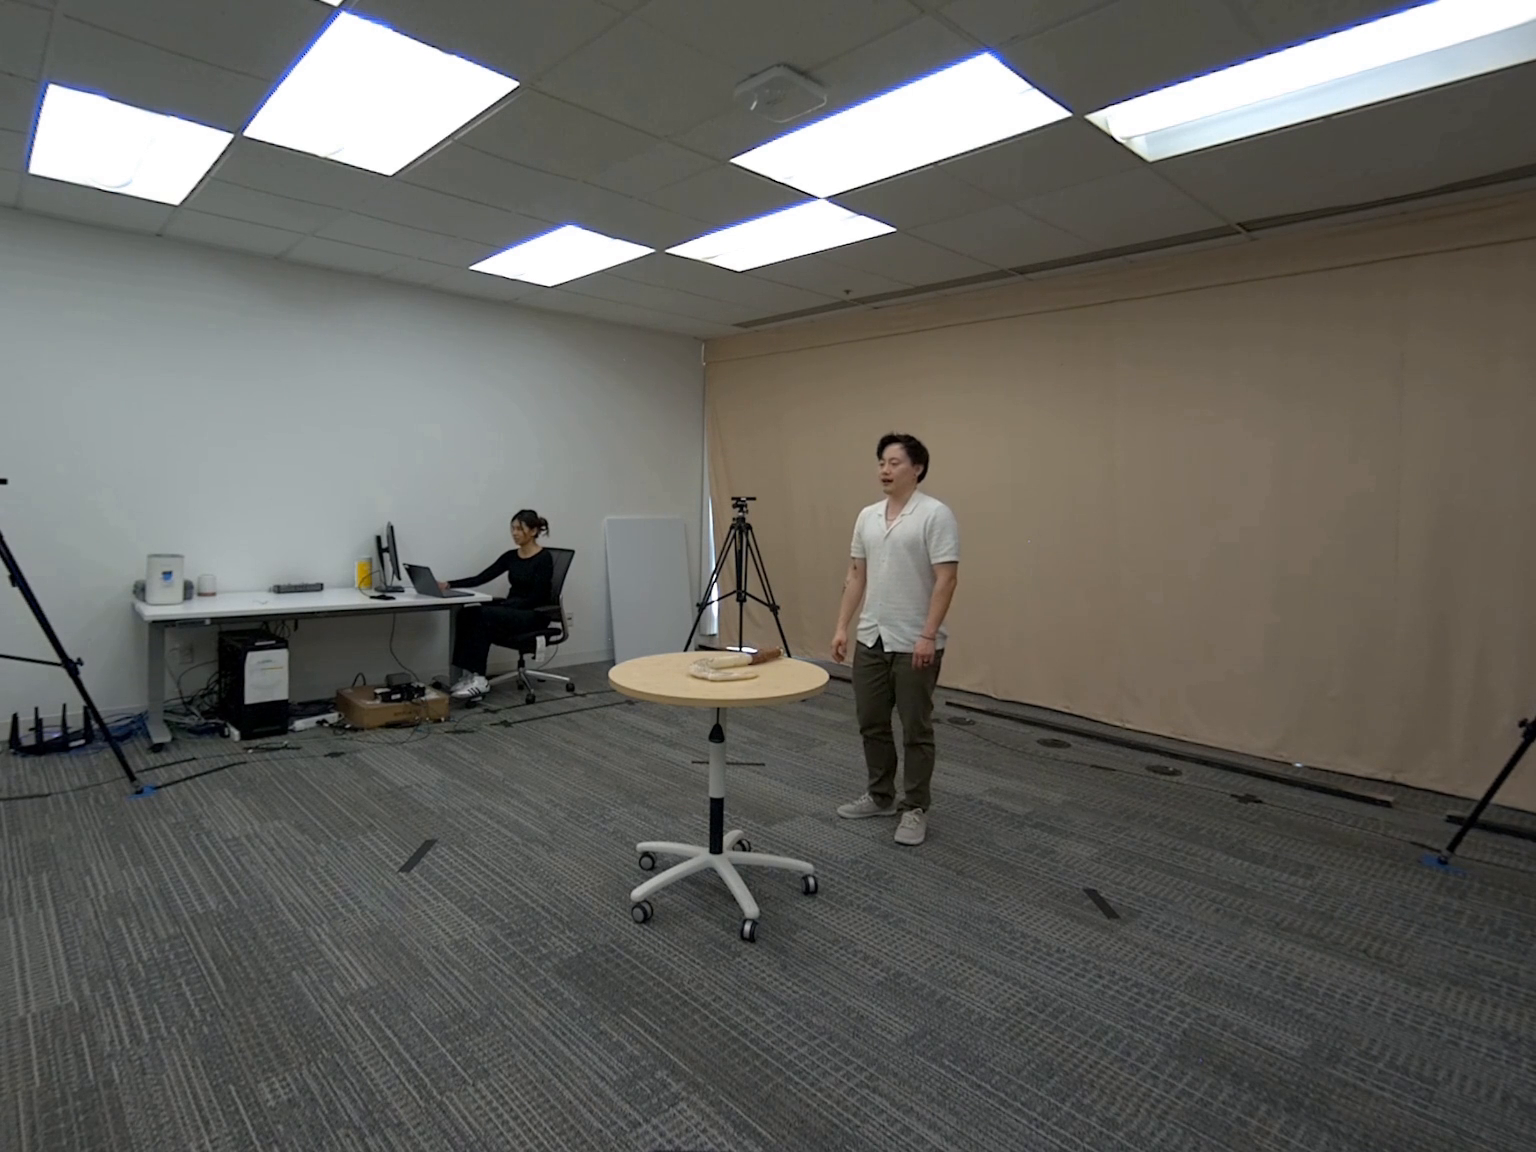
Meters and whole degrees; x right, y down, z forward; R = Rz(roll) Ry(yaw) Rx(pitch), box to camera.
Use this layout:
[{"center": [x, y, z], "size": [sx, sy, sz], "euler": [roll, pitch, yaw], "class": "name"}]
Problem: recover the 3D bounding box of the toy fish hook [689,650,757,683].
[{"center": [-0.071, 0.324, 3.000], "size": [0.231, 0.048, 0.496], "euler": [16, 15, 38], "class": "toy fish hook"}]
